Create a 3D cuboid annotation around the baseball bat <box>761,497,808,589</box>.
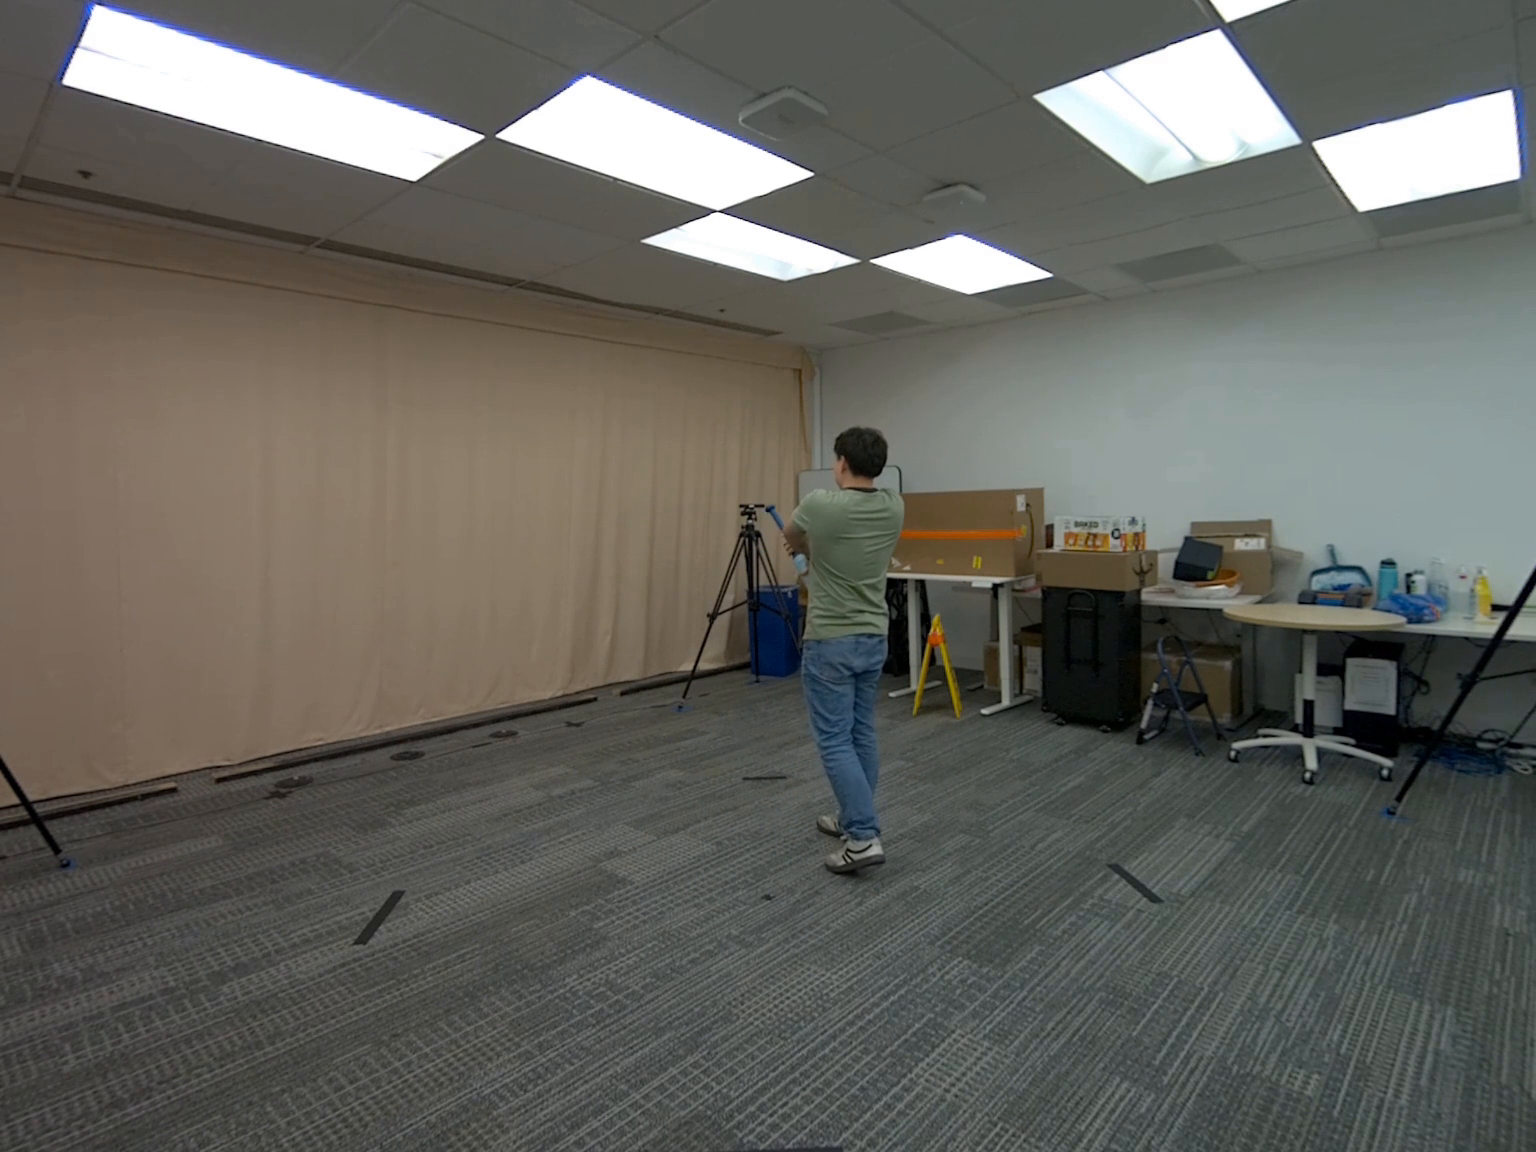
[{"bbox_3d":[0.139,-0.105,3.814,0.088,0.555,0.088,-25,-22,-12],"label":"baseball bat"}]
